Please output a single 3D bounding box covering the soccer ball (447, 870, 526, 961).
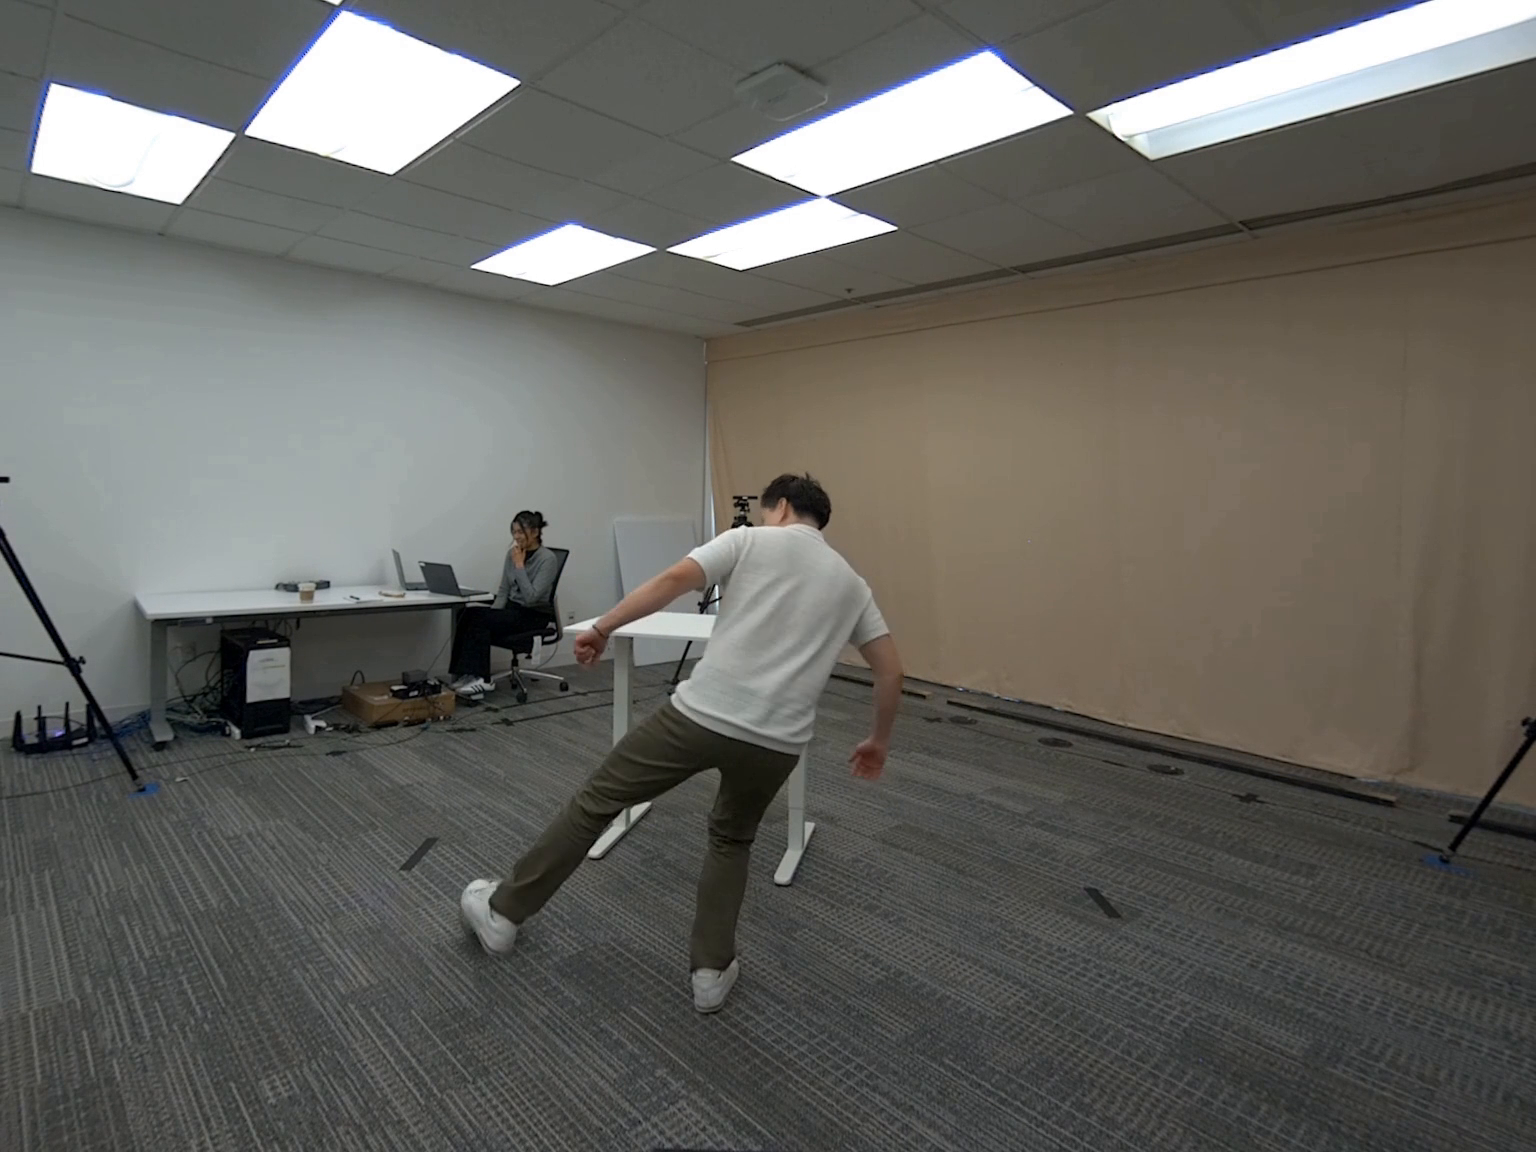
[{"bbox_3d":[-0.868,1.044,2.617,0.187,0.187,0.188,1,4,-1],"label":"soccer ball"}]
